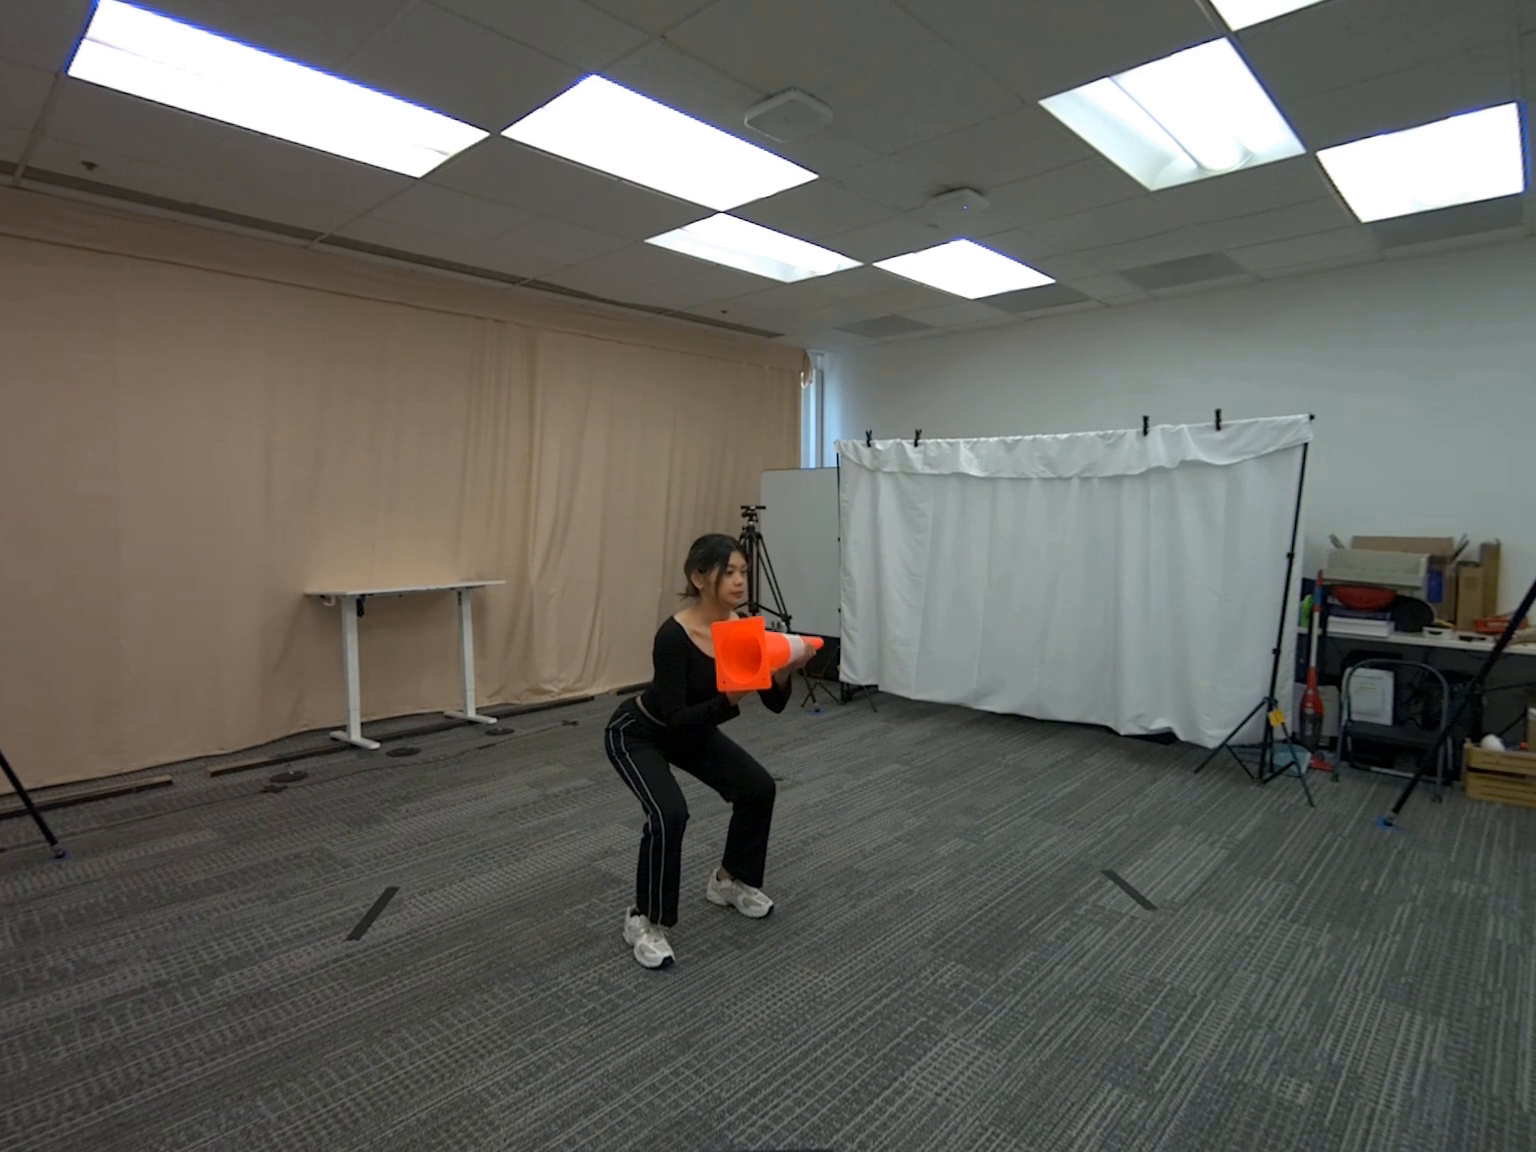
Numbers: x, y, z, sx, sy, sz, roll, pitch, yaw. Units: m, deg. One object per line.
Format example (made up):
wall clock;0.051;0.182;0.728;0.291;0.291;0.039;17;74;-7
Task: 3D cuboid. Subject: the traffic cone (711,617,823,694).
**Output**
traffic cone;0.040;0.218;2.508;0.209;0.206;0.372;-14;-8;40
